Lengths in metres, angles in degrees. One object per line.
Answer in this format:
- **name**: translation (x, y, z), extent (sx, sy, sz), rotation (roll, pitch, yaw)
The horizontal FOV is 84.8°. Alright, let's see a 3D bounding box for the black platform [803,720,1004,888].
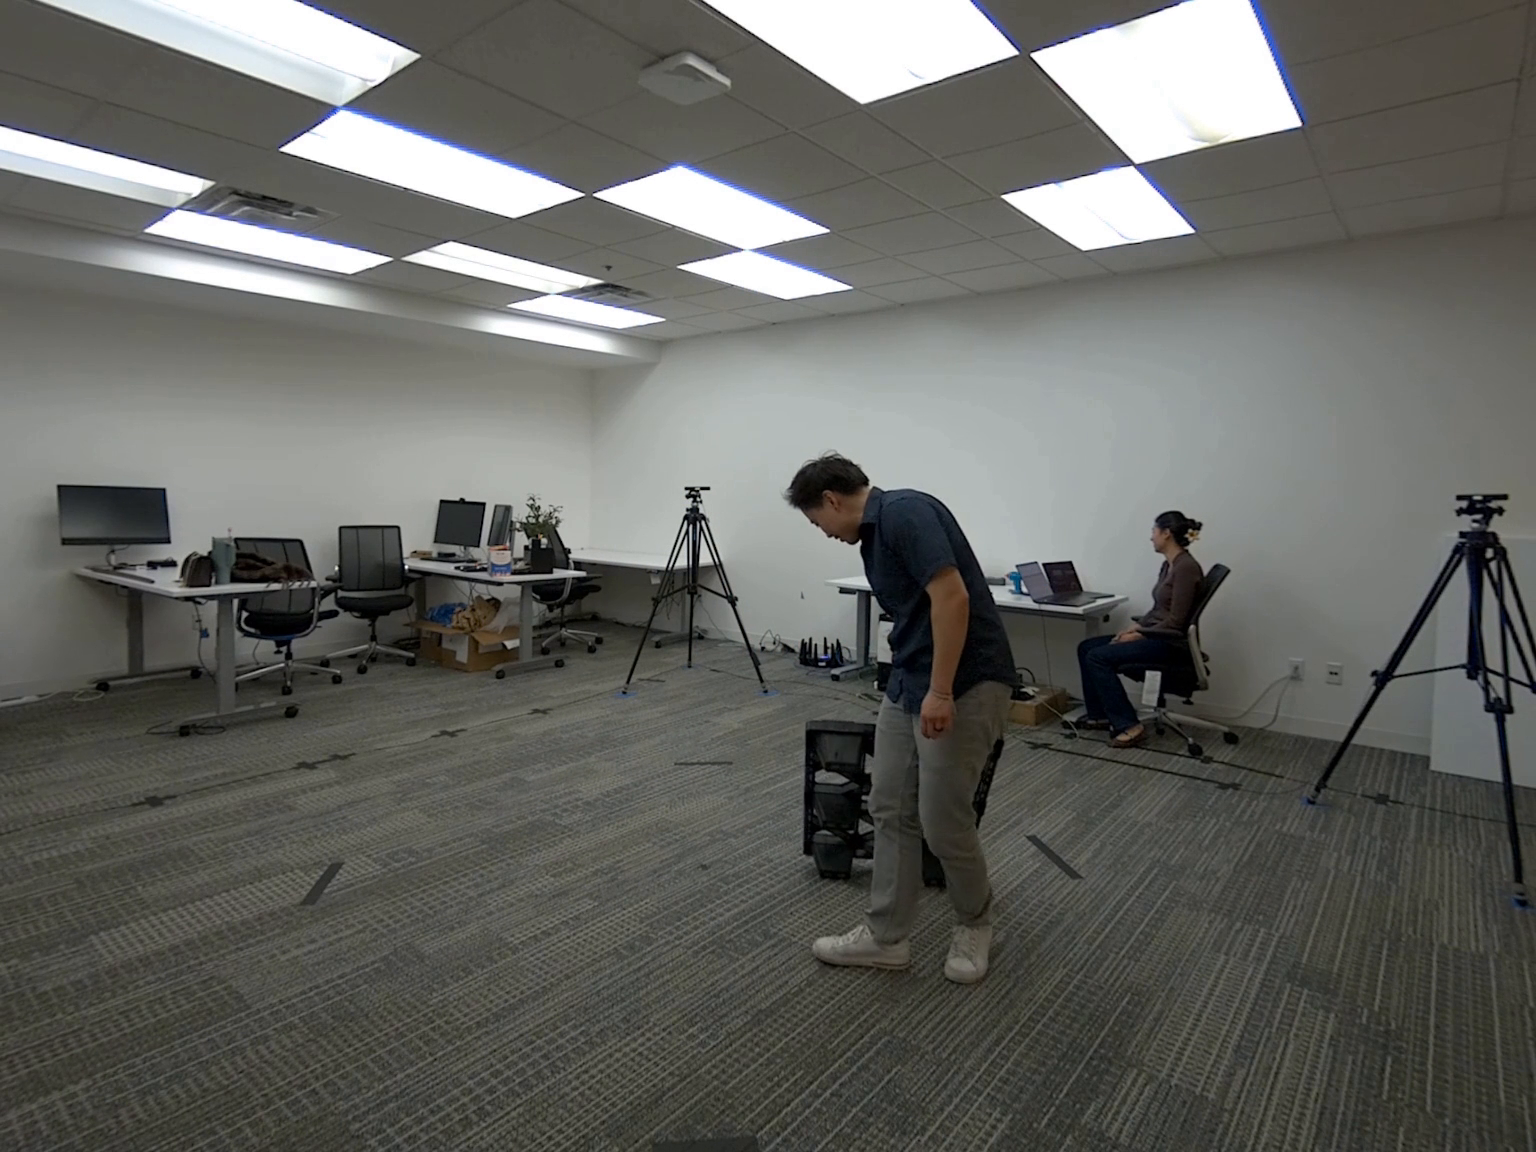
- **black platform**: translation (0.419, 0.785, 2.831), extent (0.609, 0.781, 0.146), rotation (4, 43, 6)
